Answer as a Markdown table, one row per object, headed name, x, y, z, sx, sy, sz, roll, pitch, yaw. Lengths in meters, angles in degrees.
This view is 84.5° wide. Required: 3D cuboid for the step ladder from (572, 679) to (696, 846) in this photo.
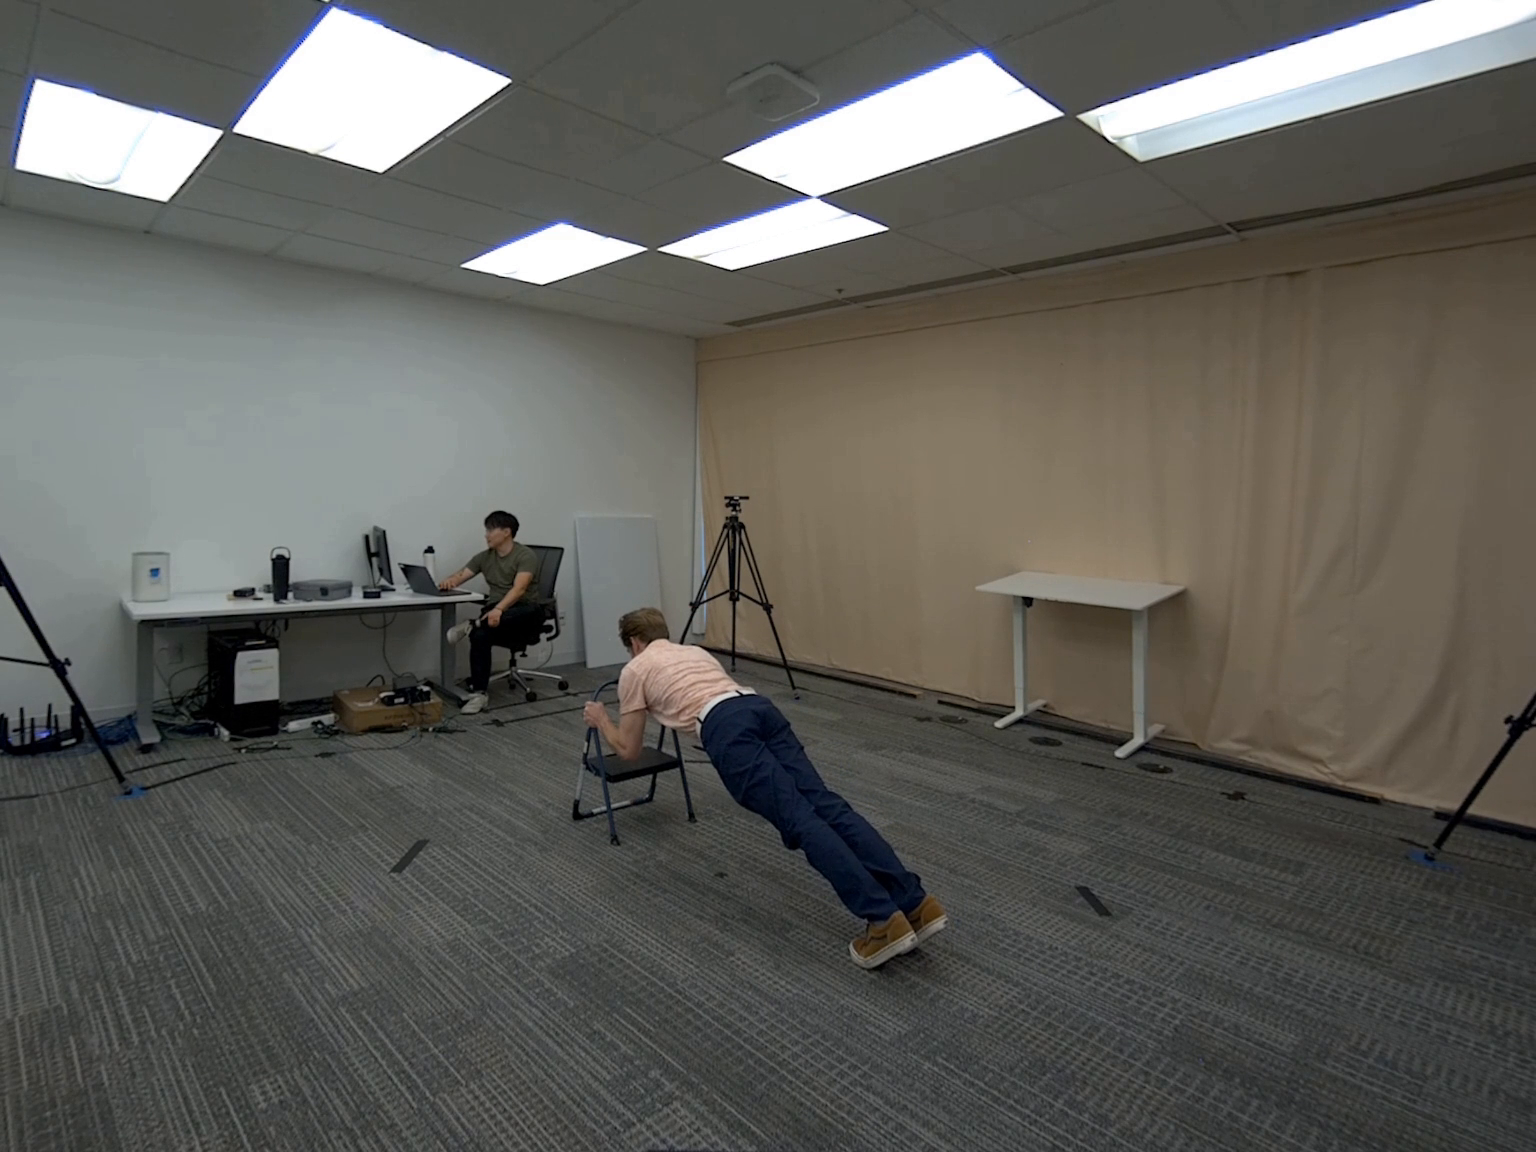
| name | x | y | z | sx | sy | sz | roll | pitch | yaw |
| --- | --- | --- | --- | --- | --- | --- | --- | --- | --- |
| step ladder | -0.576 | 0.750 | 3.596 | 0.421 | 0.605 | 0.358 | -2 | 4 | -43 |
